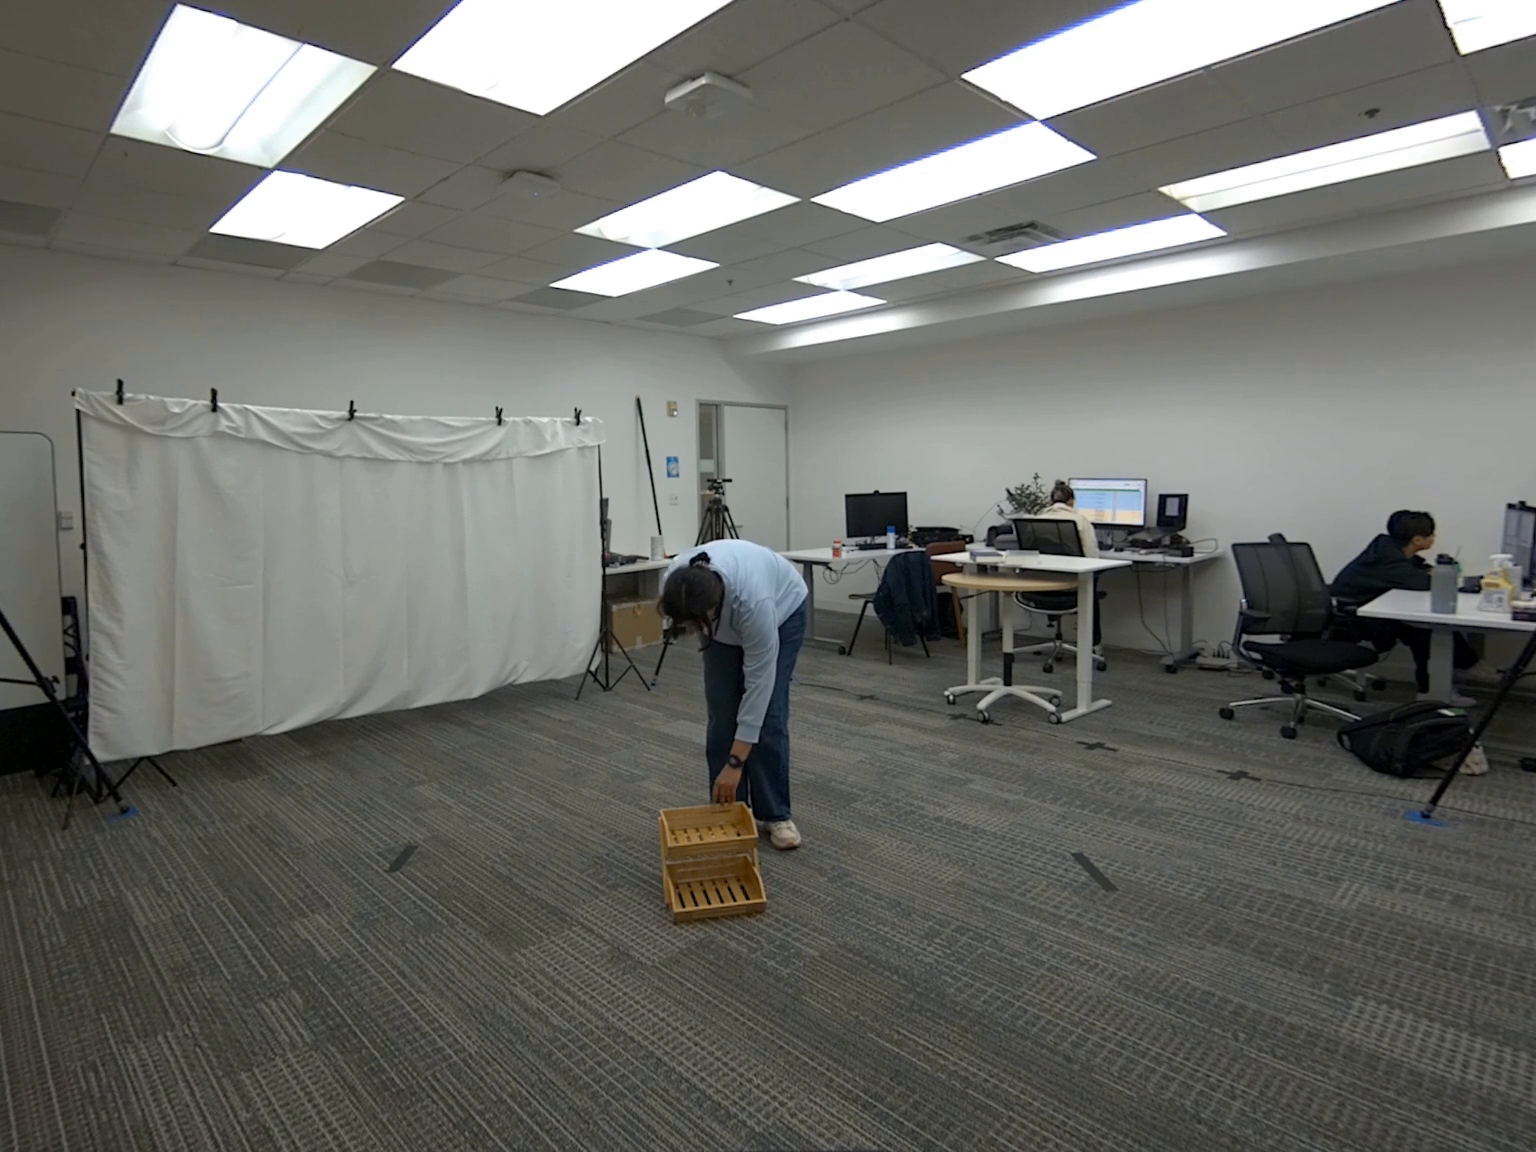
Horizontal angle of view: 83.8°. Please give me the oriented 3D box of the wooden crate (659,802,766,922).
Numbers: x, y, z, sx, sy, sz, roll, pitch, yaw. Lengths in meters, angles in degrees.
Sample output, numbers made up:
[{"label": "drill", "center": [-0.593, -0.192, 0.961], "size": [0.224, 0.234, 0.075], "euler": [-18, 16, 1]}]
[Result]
[{"label": "wooden crate", "center": [-0.189, 0.945, 2.844], "size": [0.320, 0.272, 0.307], "euler": [-2, 5, -14]}]
